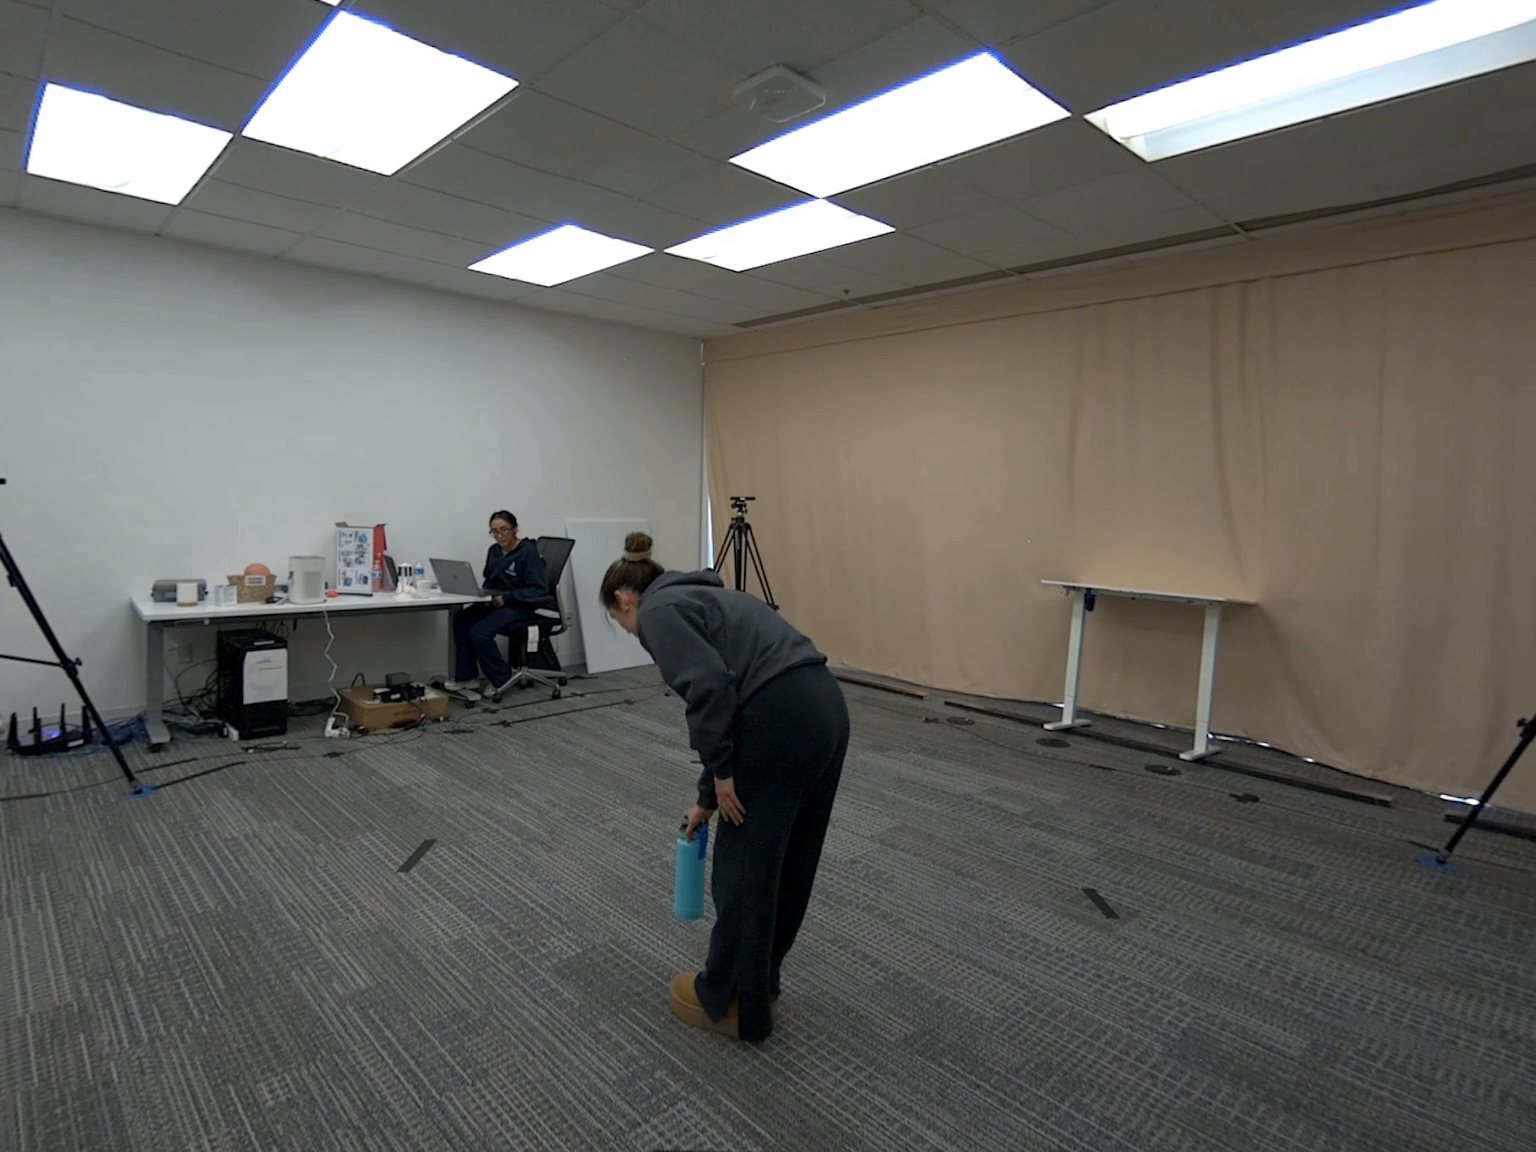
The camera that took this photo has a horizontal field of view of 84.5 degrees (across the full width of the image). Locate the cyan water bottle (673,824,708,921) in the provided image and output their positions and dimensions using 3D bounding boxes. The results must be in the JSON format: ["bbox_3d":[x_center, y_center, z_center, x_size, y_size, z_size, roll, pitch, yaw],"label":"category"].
[{"bbox_3d":[-0.224,0.871,2.507,0.092,0.284,0.092,2,-2,-1],"label":"cyan water bottle"}]
